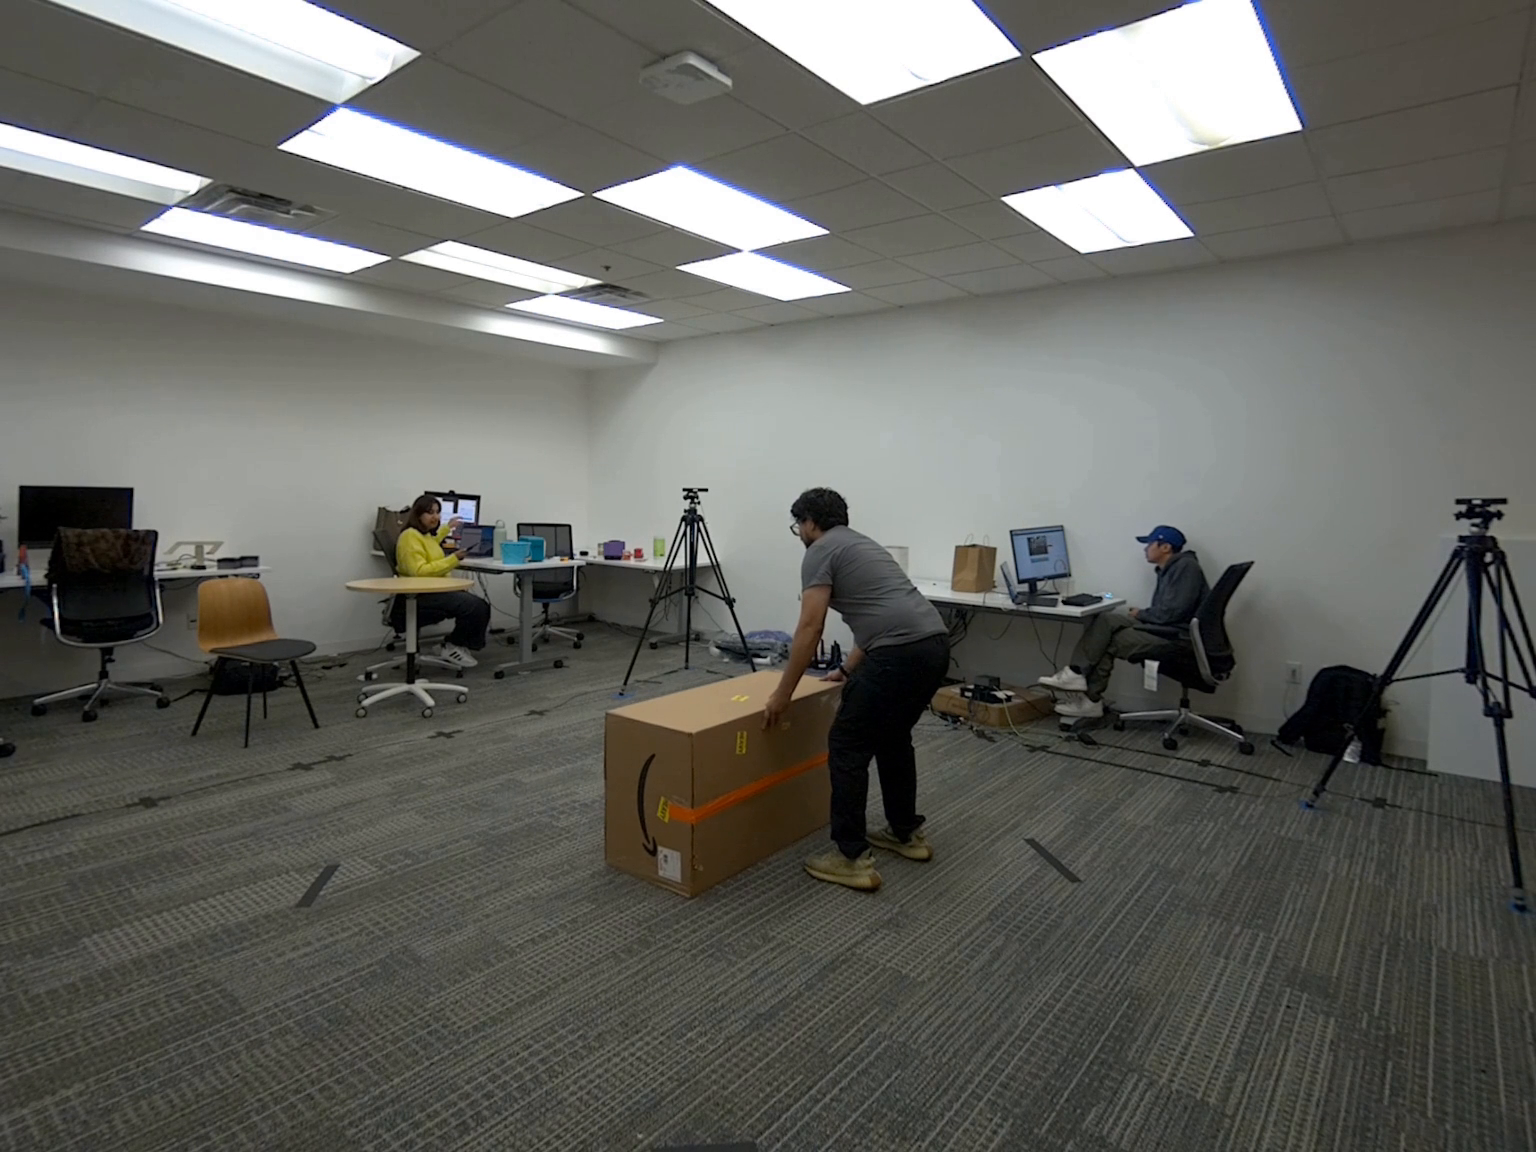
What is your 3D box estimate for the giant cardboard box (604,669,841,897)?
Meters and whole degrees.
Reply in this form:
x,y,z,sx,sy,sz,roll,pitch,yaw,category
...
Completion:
x,y,z,sx,sy,sz,roll,pitch,yaw,category
-0.141,0.759,3.384,0.440,0.575,0.996,4,6,37,giant cardboard box
